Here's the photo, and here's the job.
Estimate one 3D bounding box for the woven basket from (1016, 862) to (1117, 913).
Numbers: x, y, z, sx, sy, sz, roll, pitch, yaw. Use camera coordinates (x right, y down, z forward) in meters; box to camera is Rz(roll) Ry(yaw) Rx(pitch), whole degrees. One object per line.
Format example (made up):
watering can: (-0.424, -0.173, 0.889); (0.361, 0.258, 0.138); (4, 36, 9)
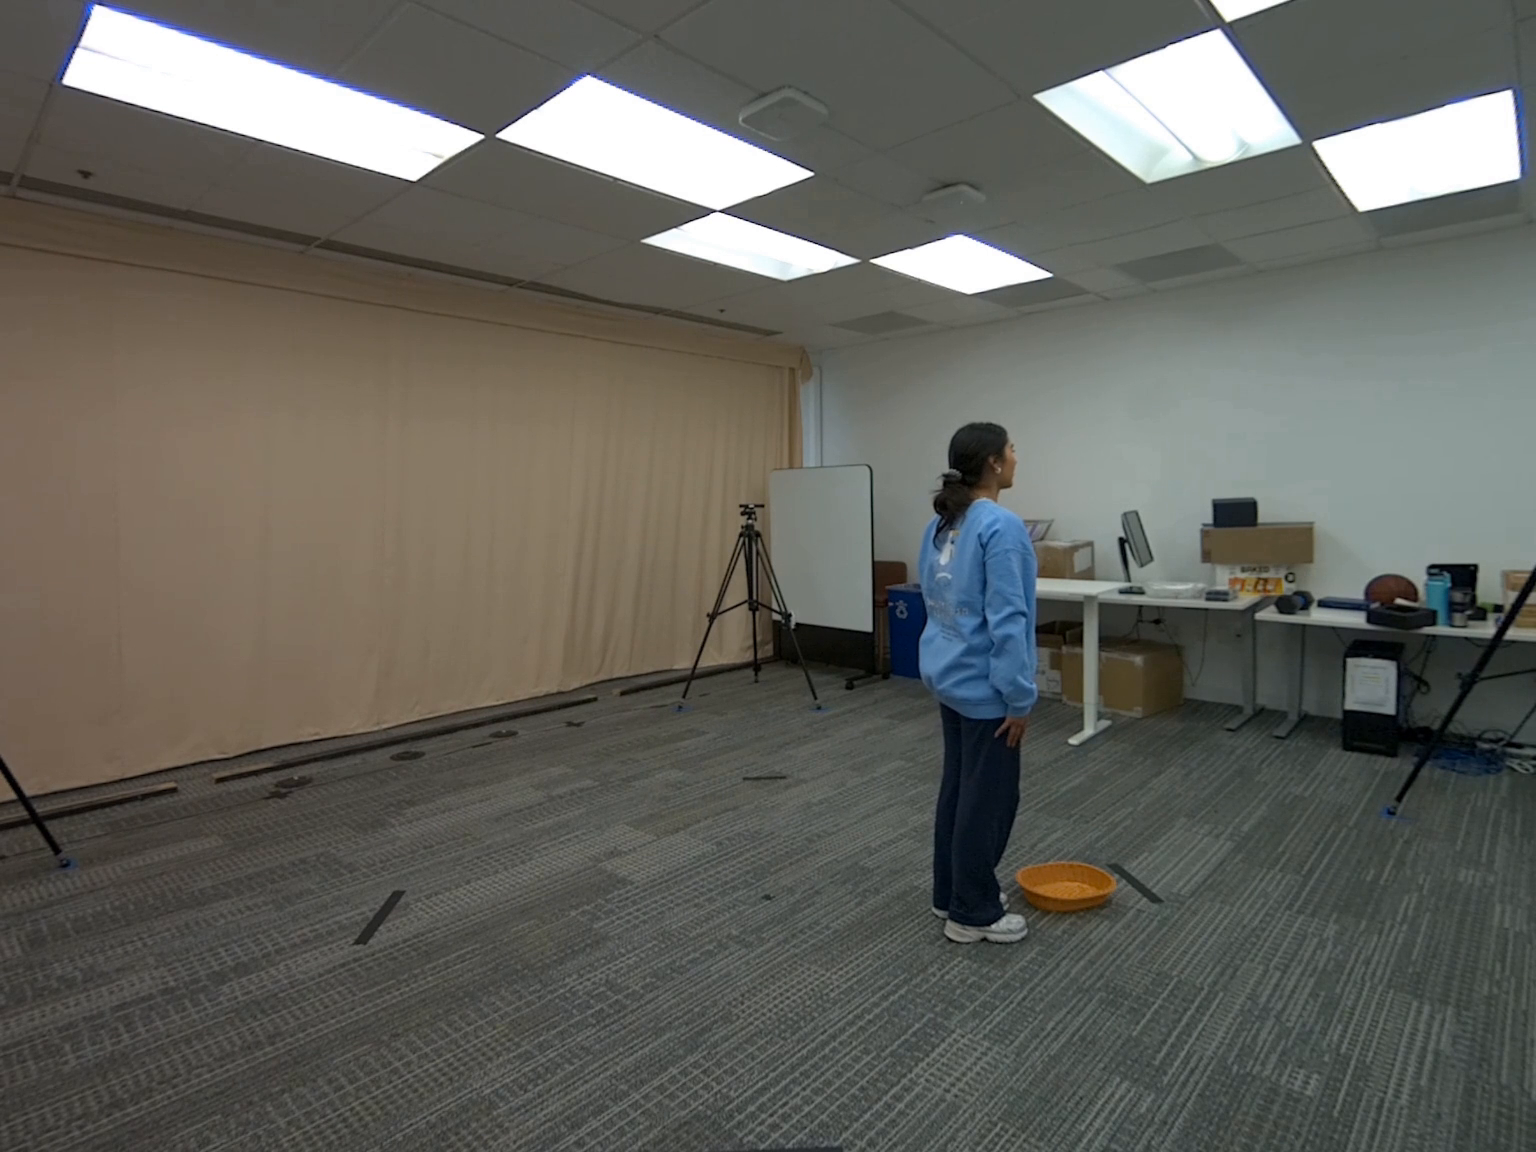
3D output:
woven basket: (1.044, 1.092, 2.925); (0.345, 0.073, 0.257); (-2, 6, -16)
